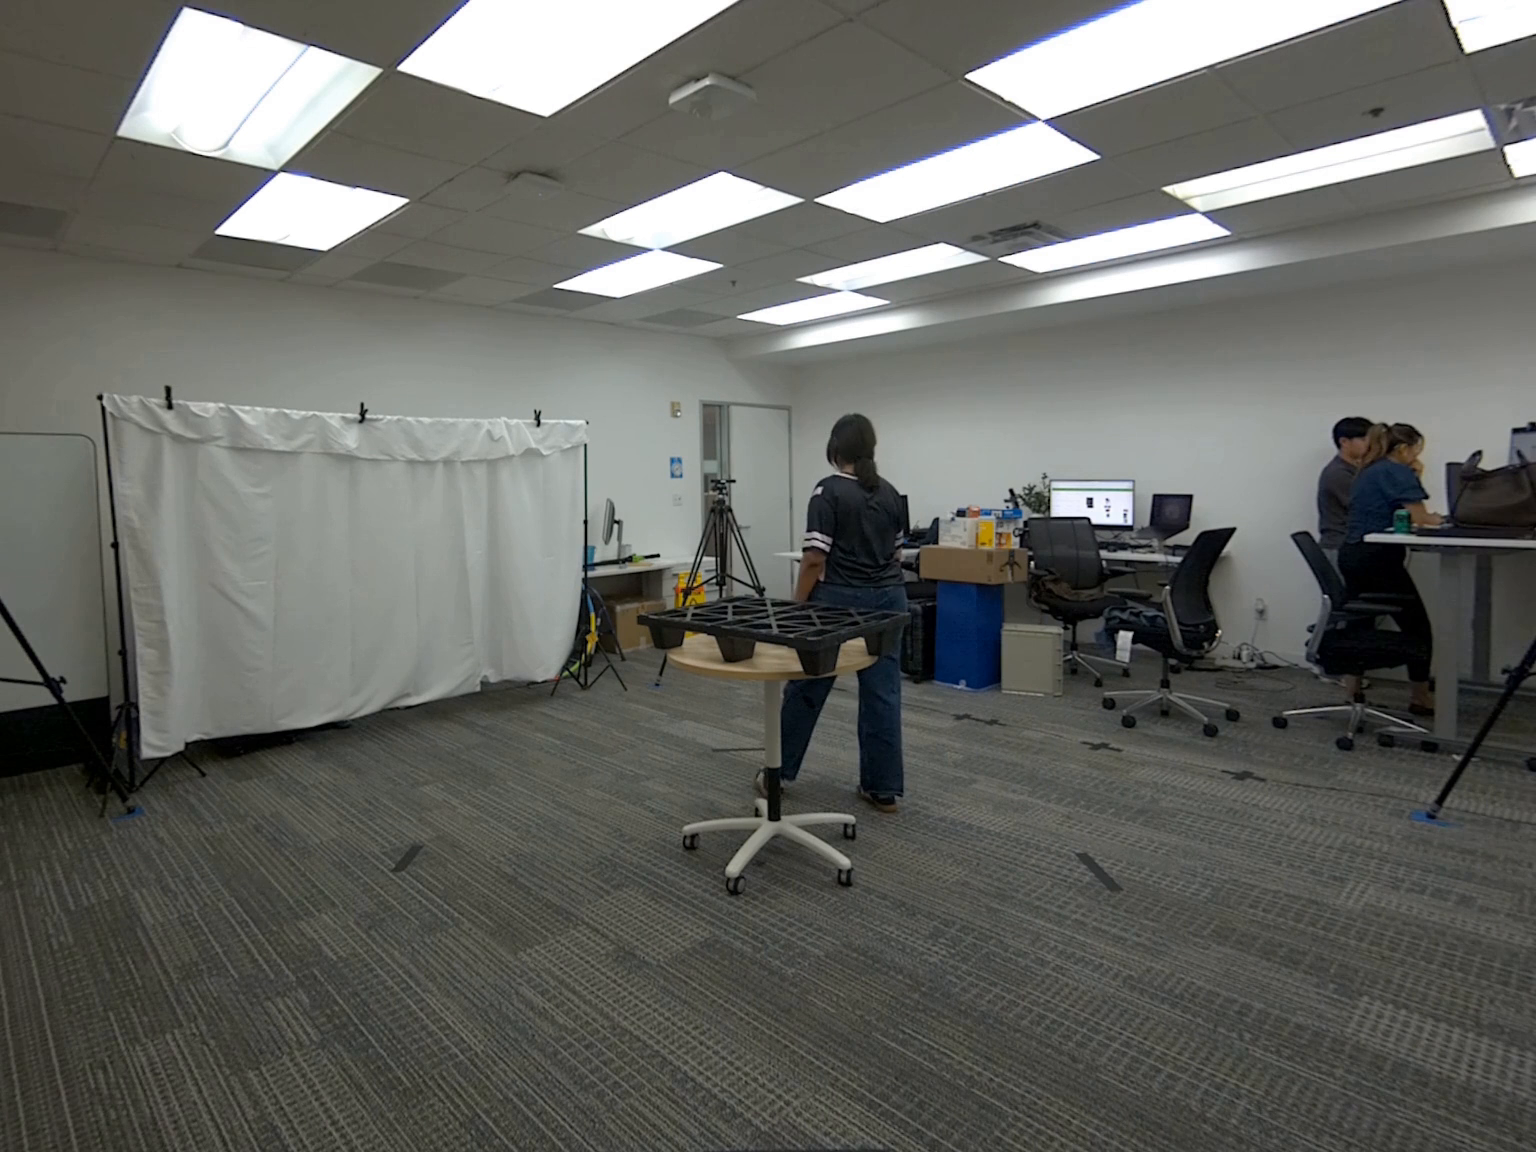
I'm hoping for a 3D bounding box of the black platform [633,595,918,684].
[{"bbox_3d":[0.018,0.207,3.051,0.830,0.142,0.590,4,9,41],"label":"black platform"}]
